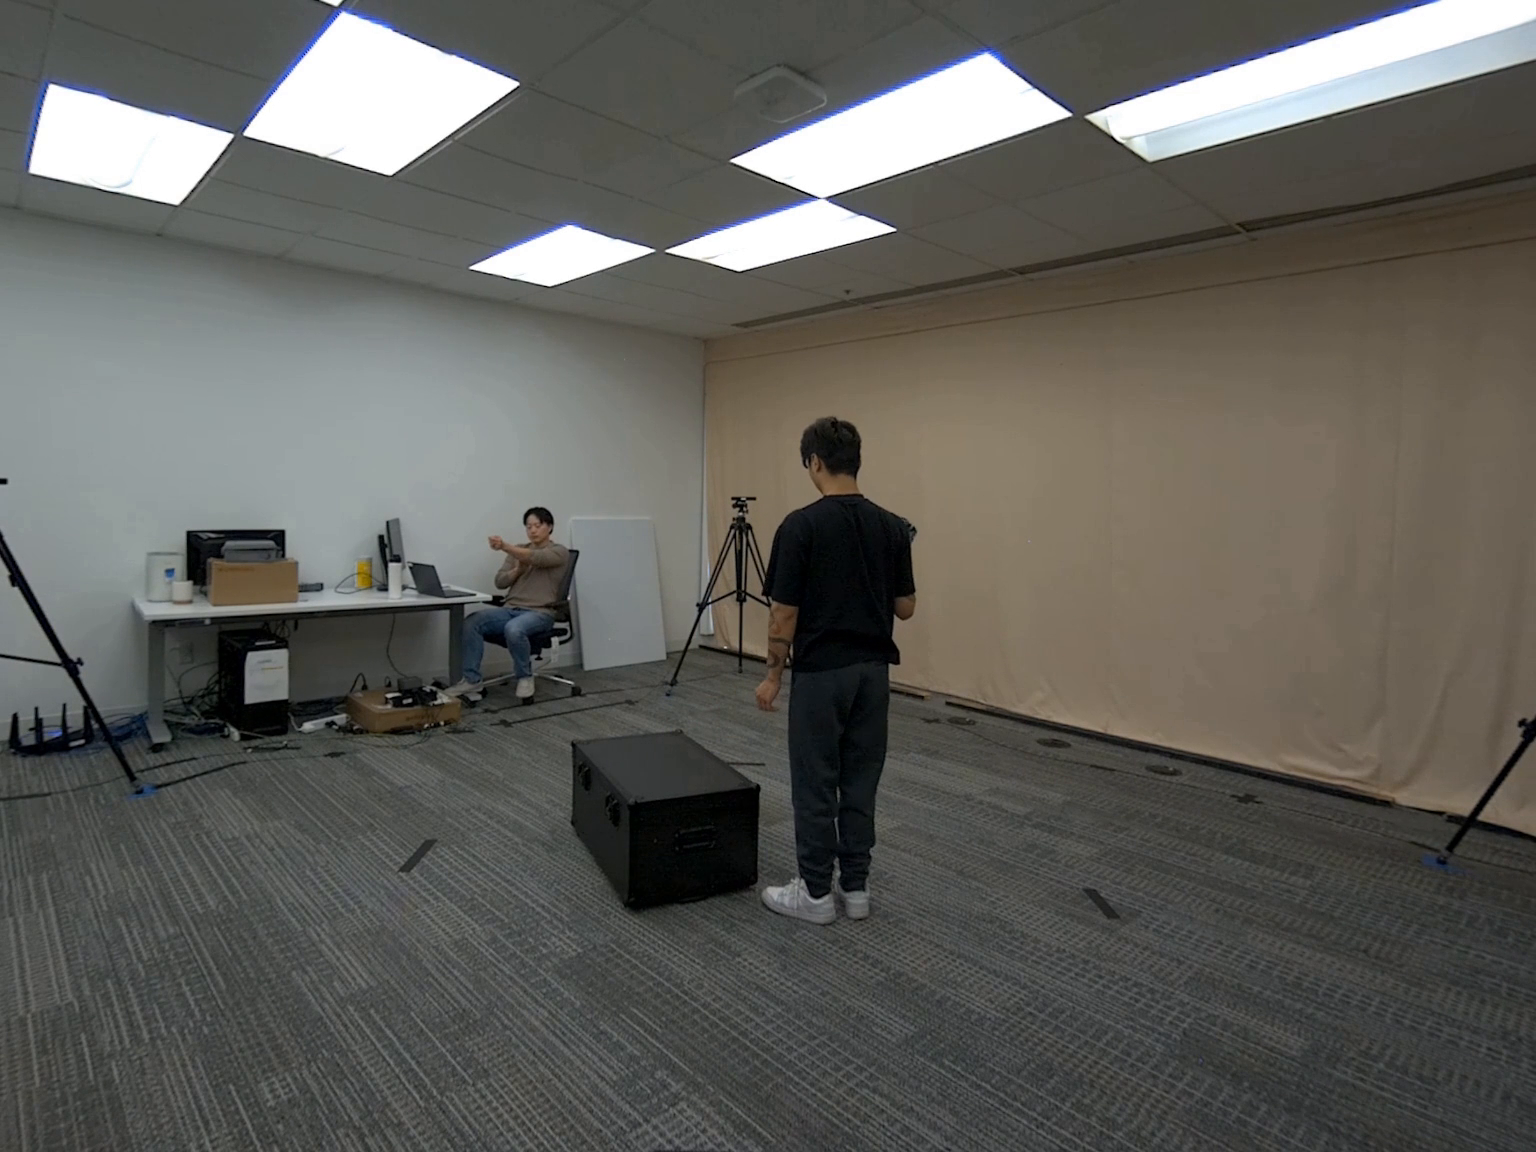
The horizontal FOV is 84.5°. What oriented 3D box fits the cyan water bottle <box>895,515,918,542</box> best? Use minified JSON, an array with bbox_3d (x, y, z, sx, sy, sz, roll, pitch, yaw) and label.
[{"bbox_3d":[0.463,-0.080,3.125,0.092,0.281,0.093,18,18,-8],"label":"cyan water bottle"}]
